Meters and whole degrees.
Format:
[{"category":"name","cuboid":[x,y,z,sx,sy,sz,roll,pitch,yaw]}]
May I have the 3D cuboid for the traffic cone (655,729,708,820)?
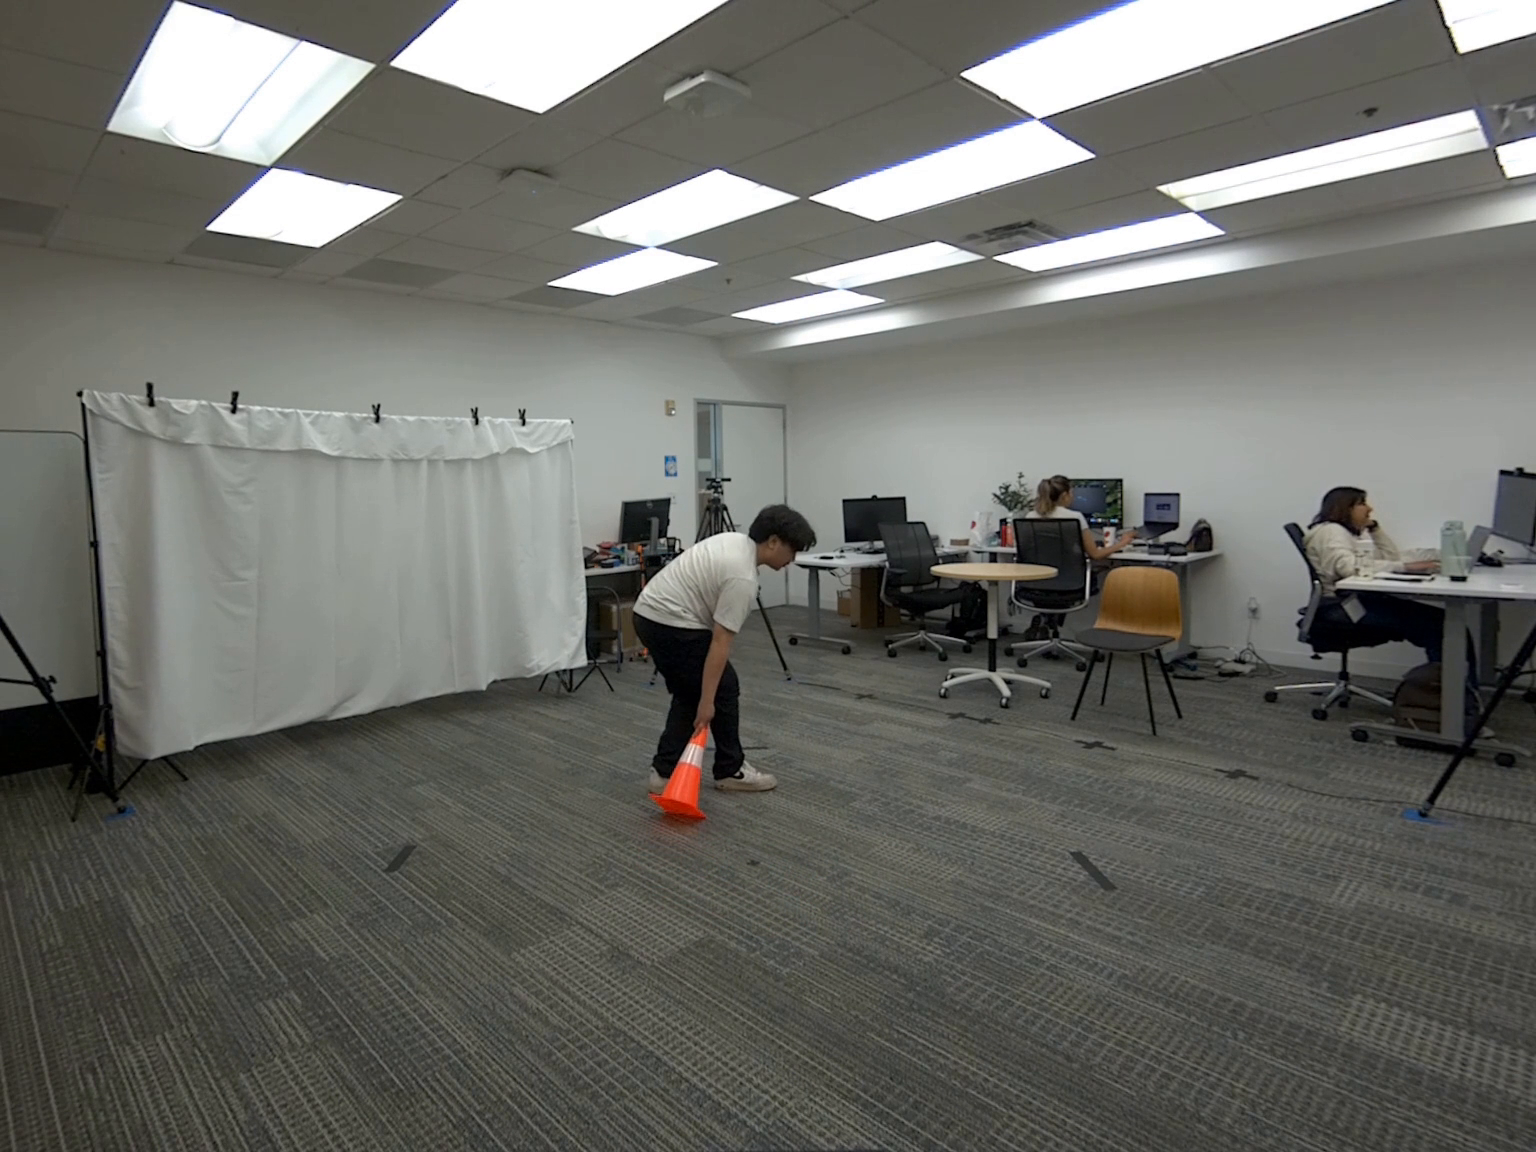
[{"category":"traffic cone","cuboid":[-0.323,0.790,3.590,0.210,0.389,0.195,-1,-33,29]}]
